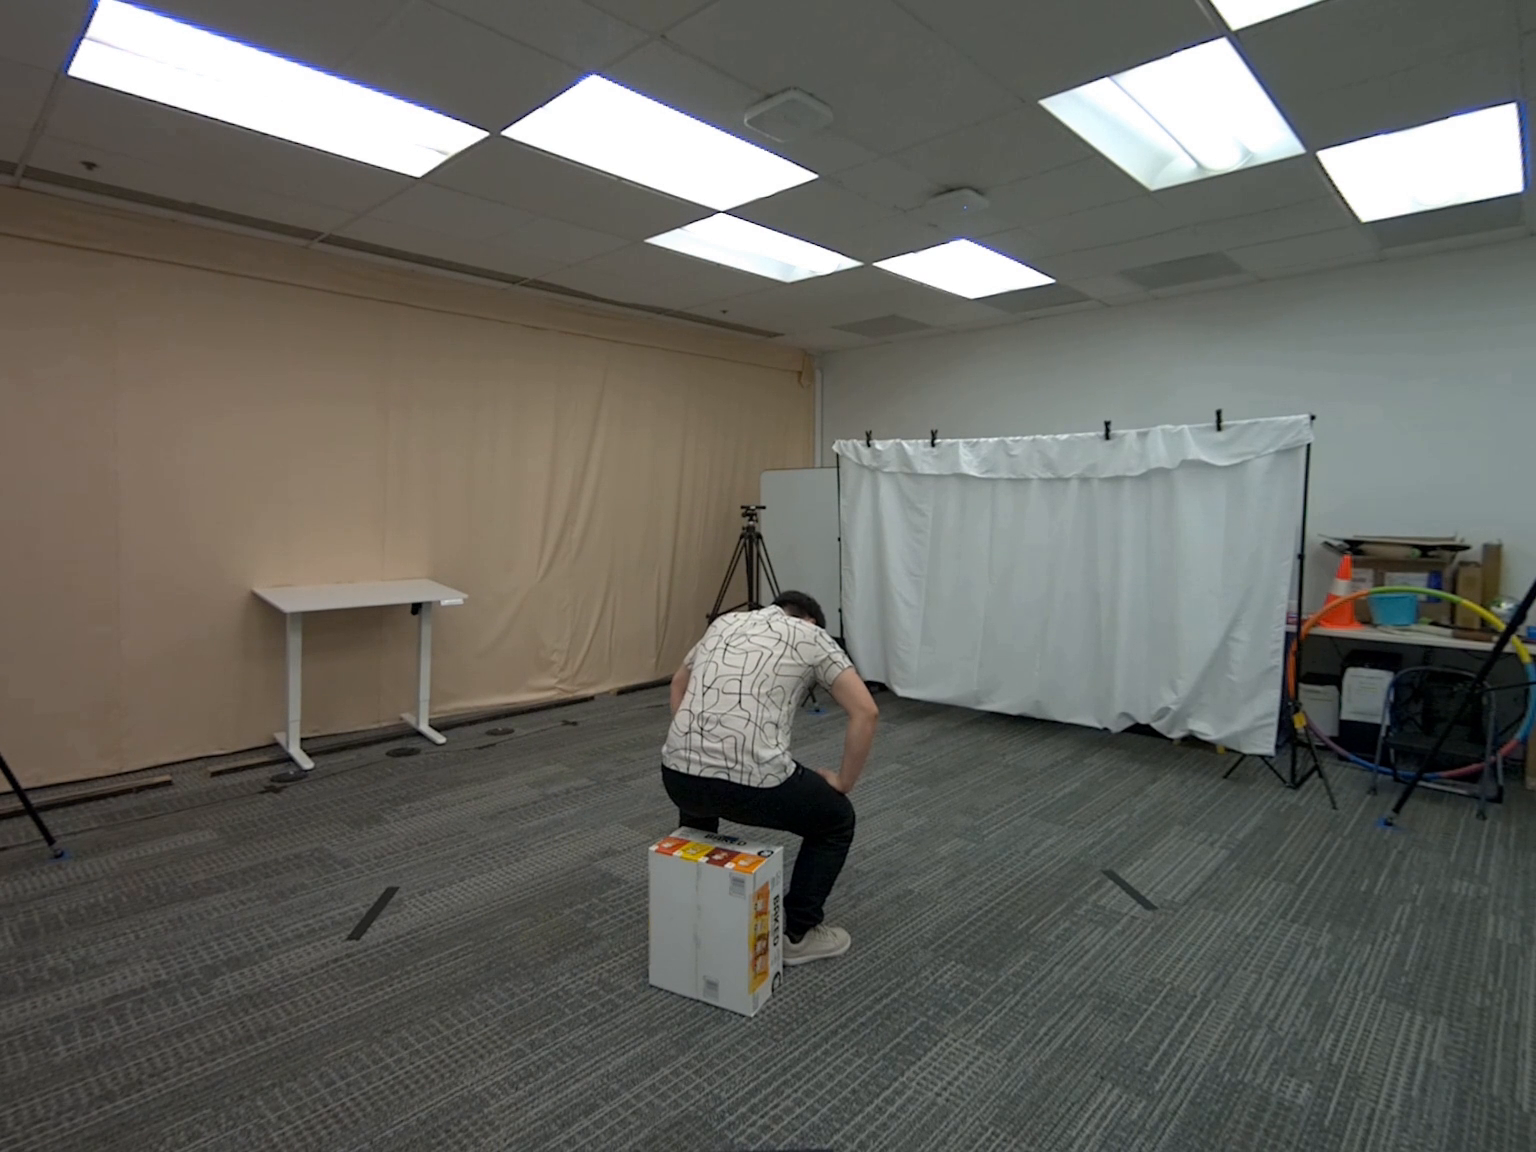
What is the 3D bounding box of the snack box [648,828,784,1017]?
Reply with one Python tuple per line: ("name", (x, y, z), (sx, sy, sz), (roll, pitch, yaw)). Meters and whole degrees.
("snack box", (-0.148, 0.988, 2.437), (0.349, 0.404, 0.200), (2, 3, 27))
